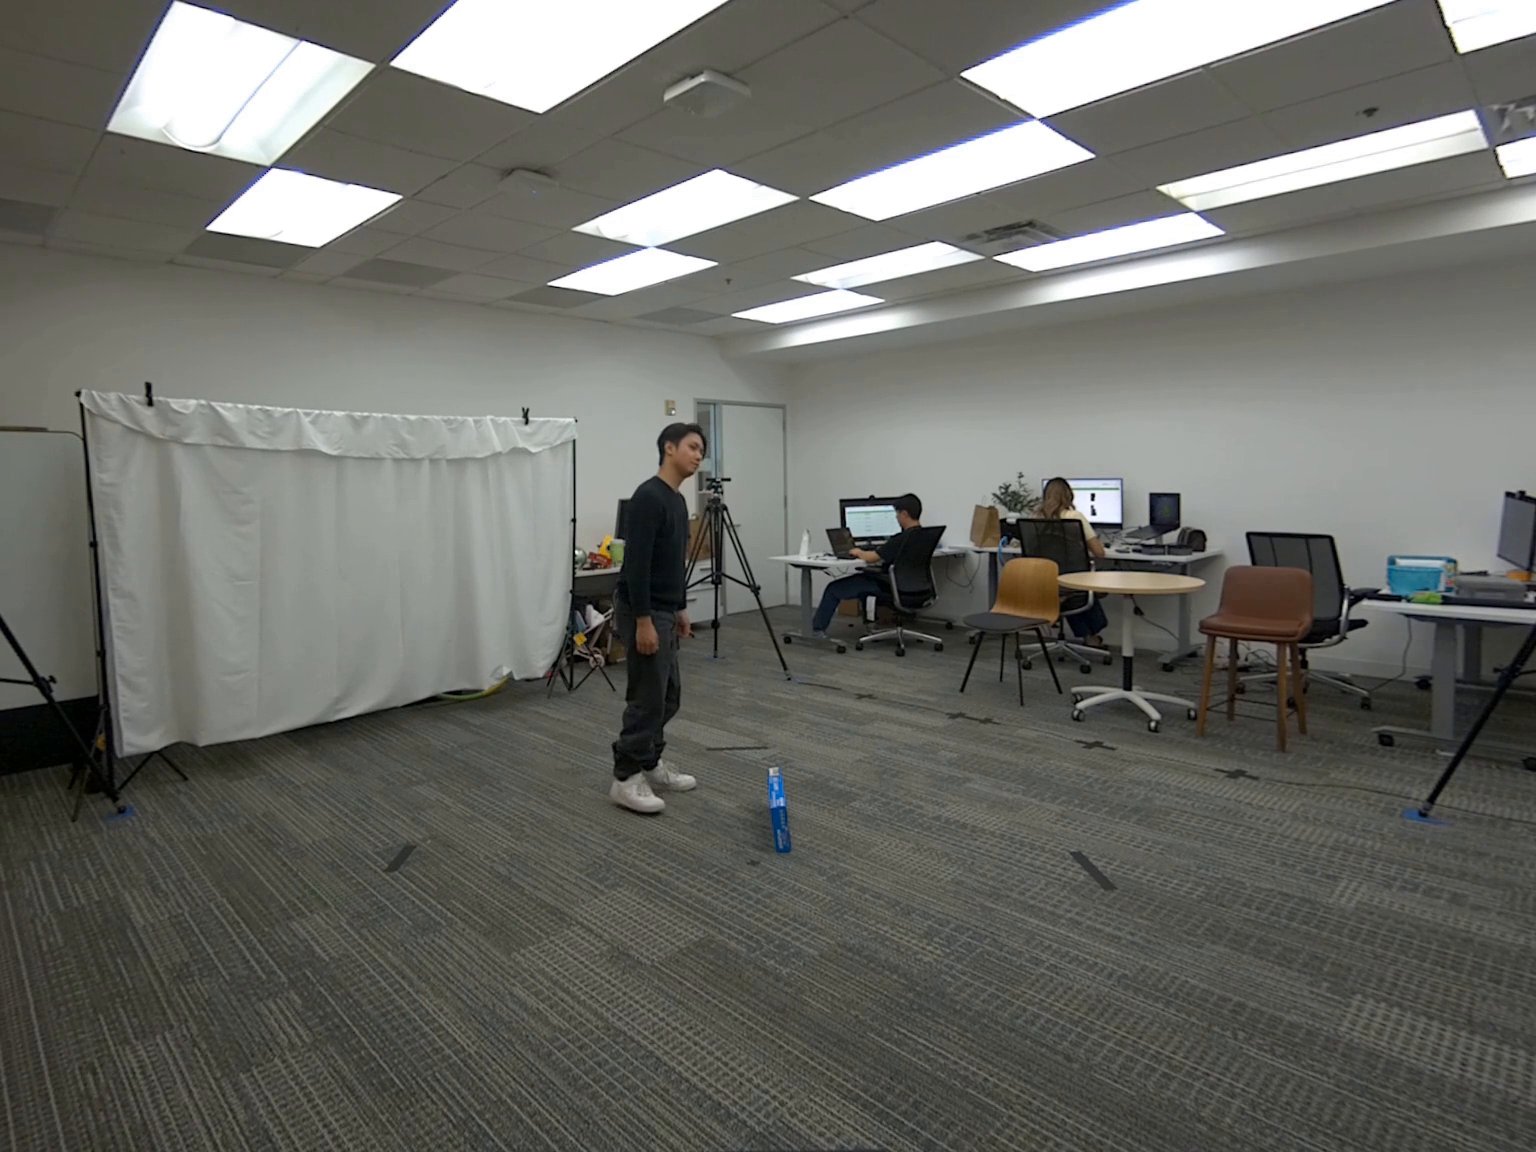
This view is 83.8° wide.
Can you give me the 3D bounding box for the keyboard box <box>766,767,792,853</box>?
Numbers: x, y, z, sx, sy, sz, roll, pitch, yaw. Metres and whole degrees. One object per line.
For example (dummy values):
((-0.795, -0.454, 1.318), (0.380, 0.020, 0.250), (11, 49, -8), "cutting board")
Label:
((0.045, 0.919, 3.402), (0.059, 0.175, 0.439), (-7, 7, -1), "keyboard box")
